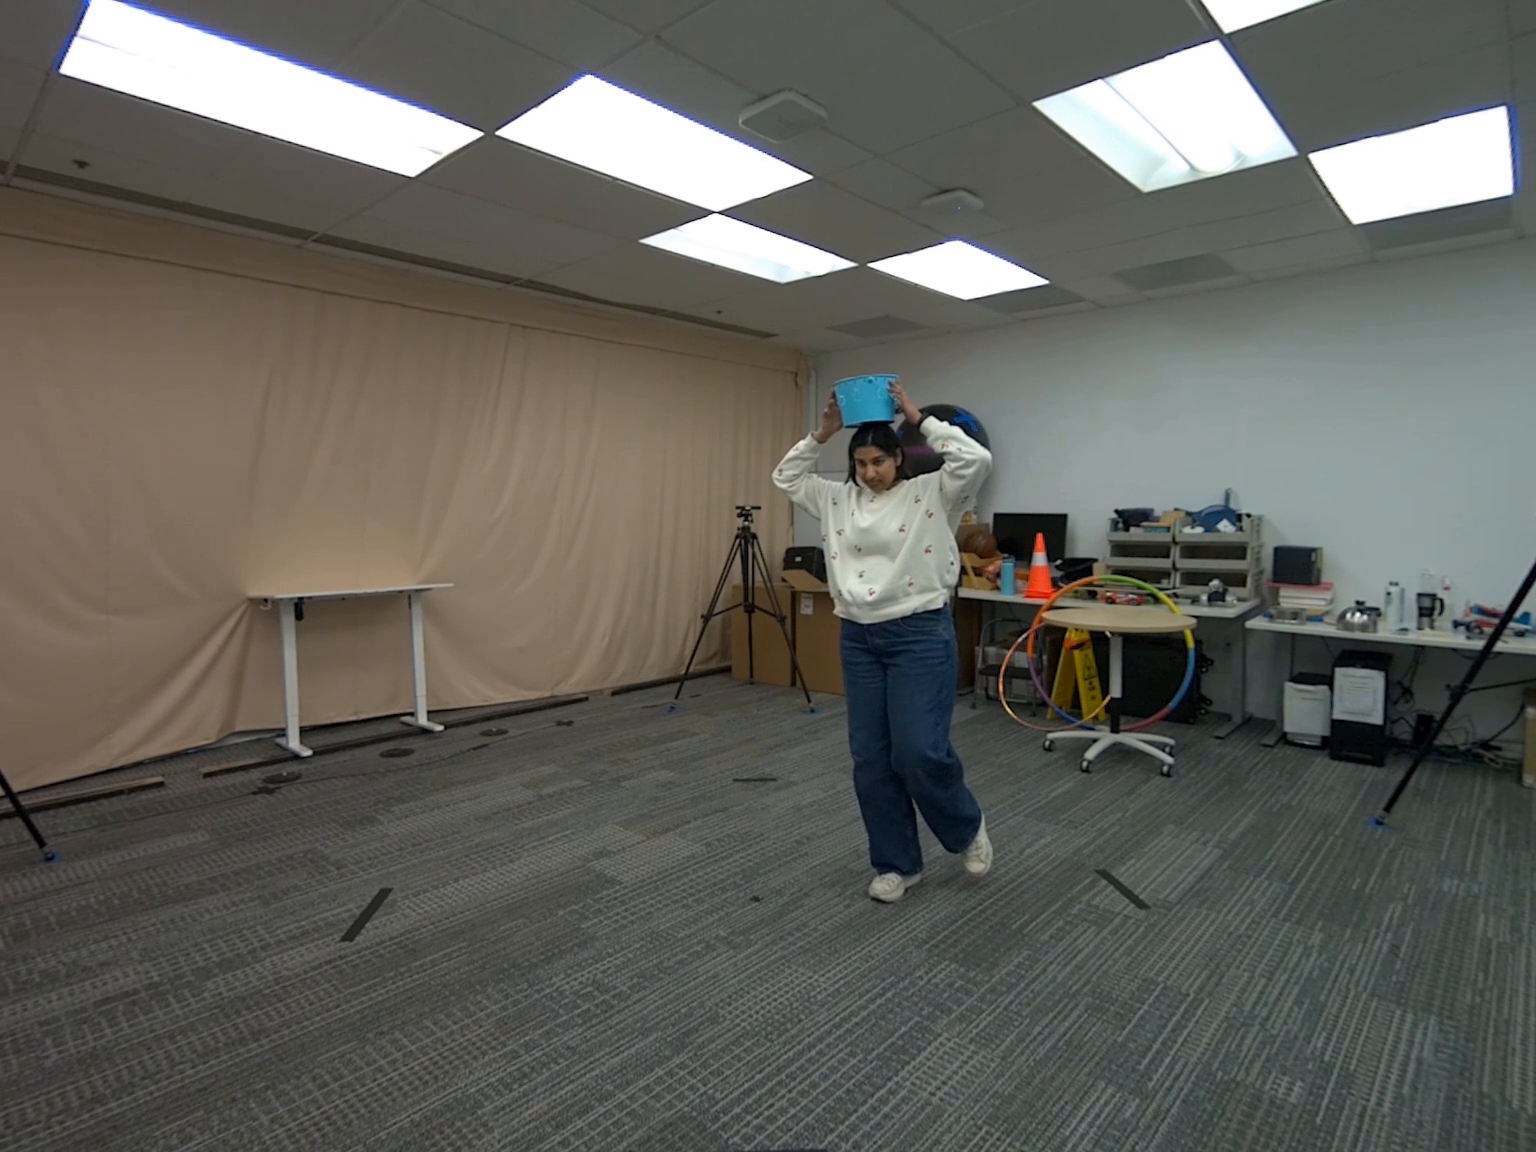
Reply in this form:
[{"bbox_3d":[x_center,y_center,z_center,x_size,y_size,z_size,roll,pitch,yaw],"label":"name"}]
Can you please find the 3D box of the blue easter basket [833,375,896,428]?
[{"bbox_3d":[0.366,-0.610,2.969,0.243,0.156,0.244,-5,1,-2],"label":"blue easter basket"}]
